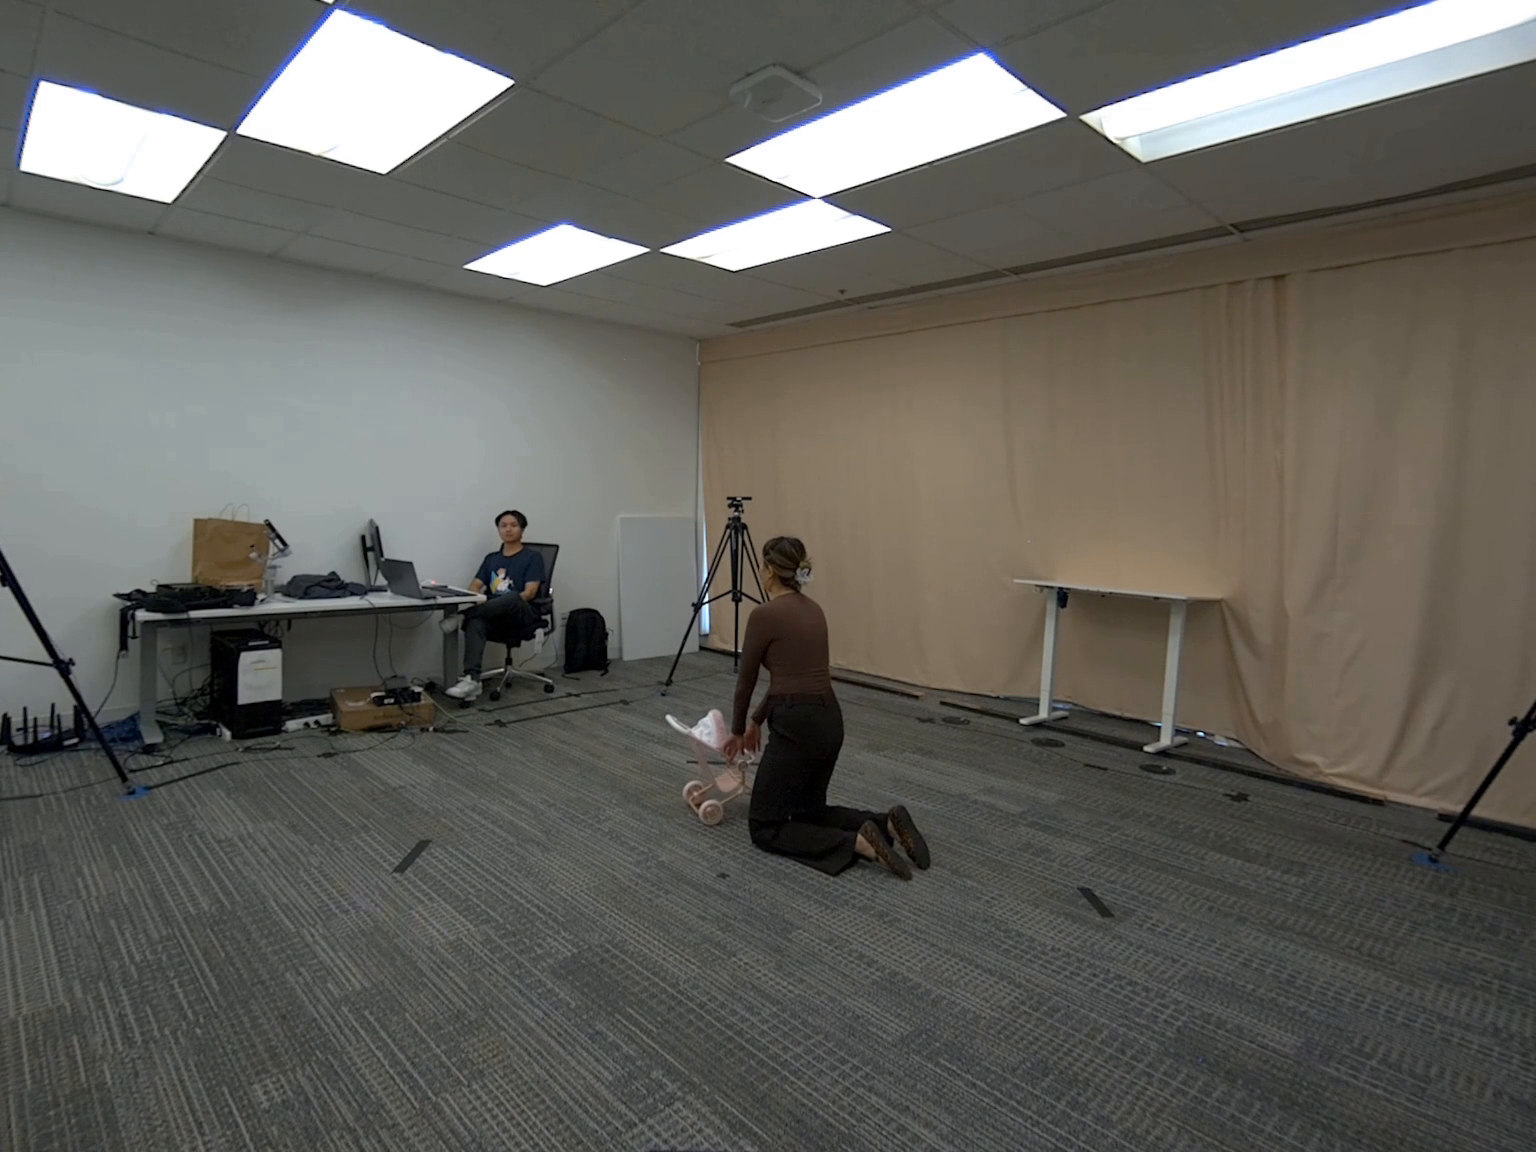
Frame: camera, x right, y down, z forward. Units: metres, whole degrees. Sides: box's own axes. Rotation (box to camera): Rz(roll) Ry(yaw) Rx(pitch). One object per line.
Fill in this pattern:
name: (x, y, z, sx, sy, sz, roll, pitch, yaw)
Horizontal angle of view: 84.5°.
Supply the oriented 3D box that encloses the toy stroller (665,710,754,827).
toy stroller: (-0.230, 0.824, 3.705, 0.338, 0.531, 0.286, -15, 9, -15)
